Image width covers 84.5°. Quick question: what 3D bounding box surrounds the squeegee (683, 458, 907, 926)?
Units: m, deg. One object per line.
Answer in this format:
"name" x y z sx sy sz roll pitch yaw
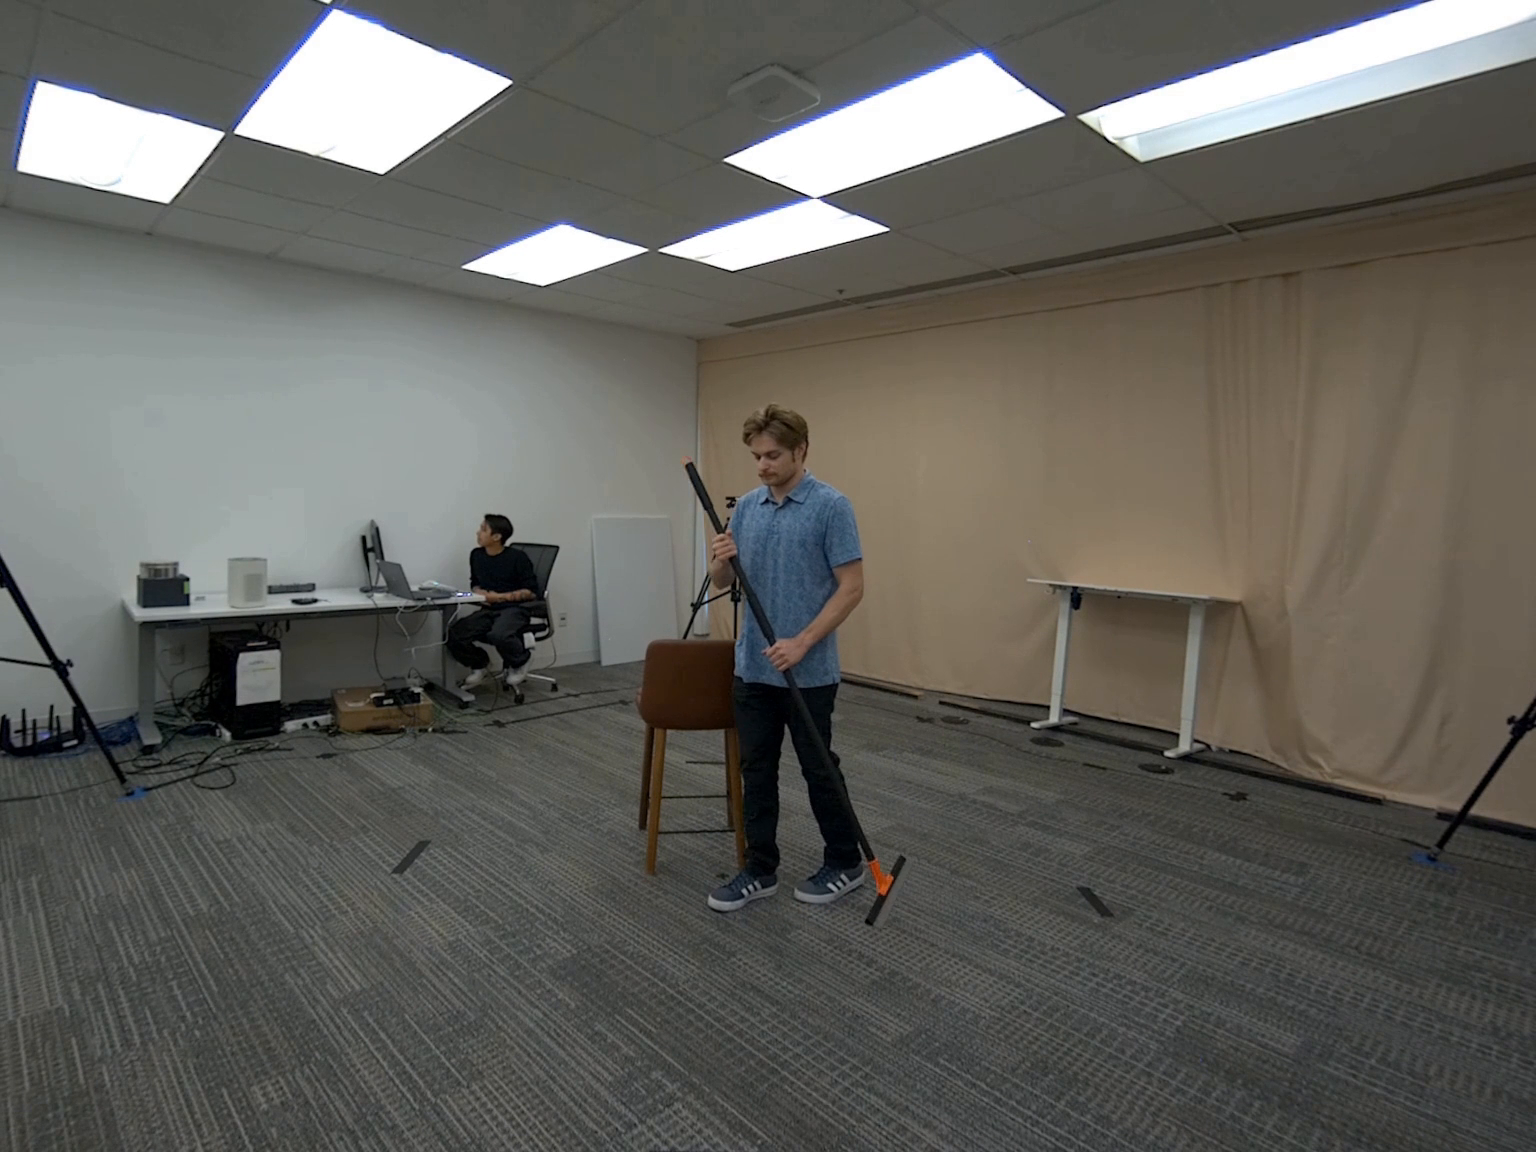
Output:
"squeegee" 0.043 0.316 2.700 0.053 1.548 0.431 -28 -7 25
